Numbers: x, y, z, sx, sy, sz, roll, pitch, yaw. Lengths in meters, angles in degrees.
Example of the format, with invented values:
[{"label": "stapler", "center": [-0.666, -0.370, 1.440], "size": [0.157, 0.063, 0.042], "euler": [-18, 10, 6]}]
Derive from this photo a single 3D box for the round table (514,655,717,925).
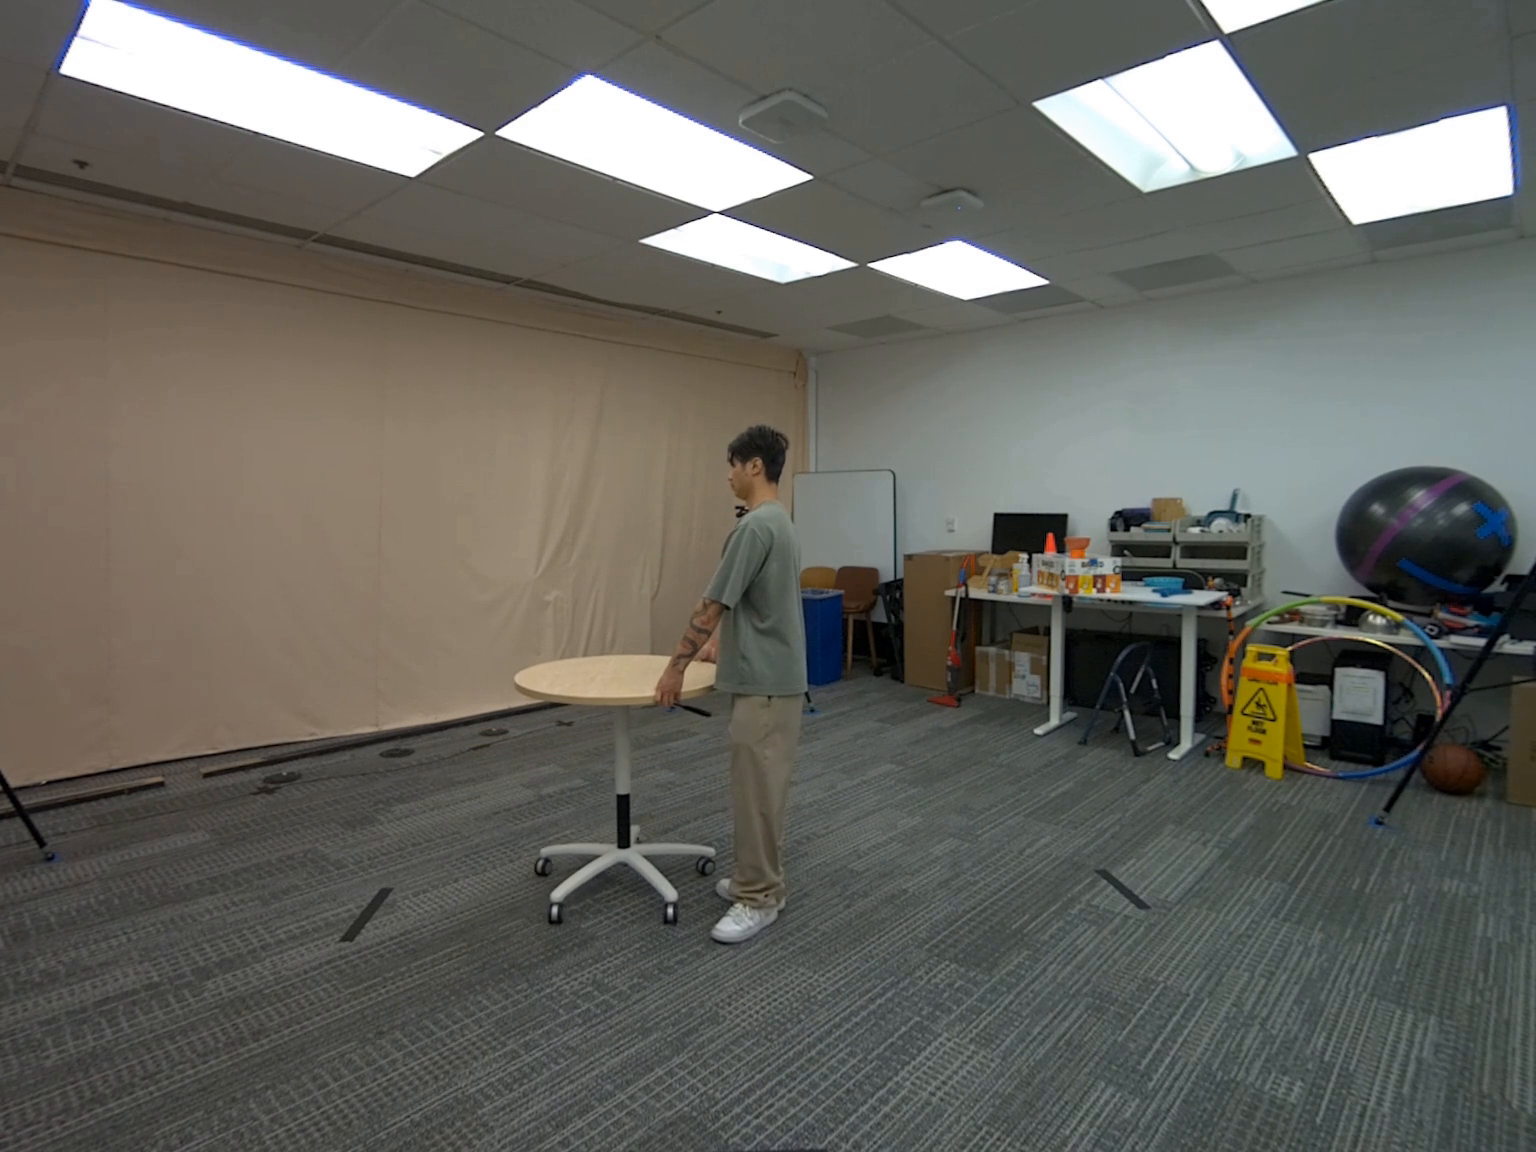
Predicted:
[{"label": "round table", "center": [-0.546, 0.747, 3.096], "size": [0.784, 0.785, 0.787], "euler": [0, 3, -2]}]
